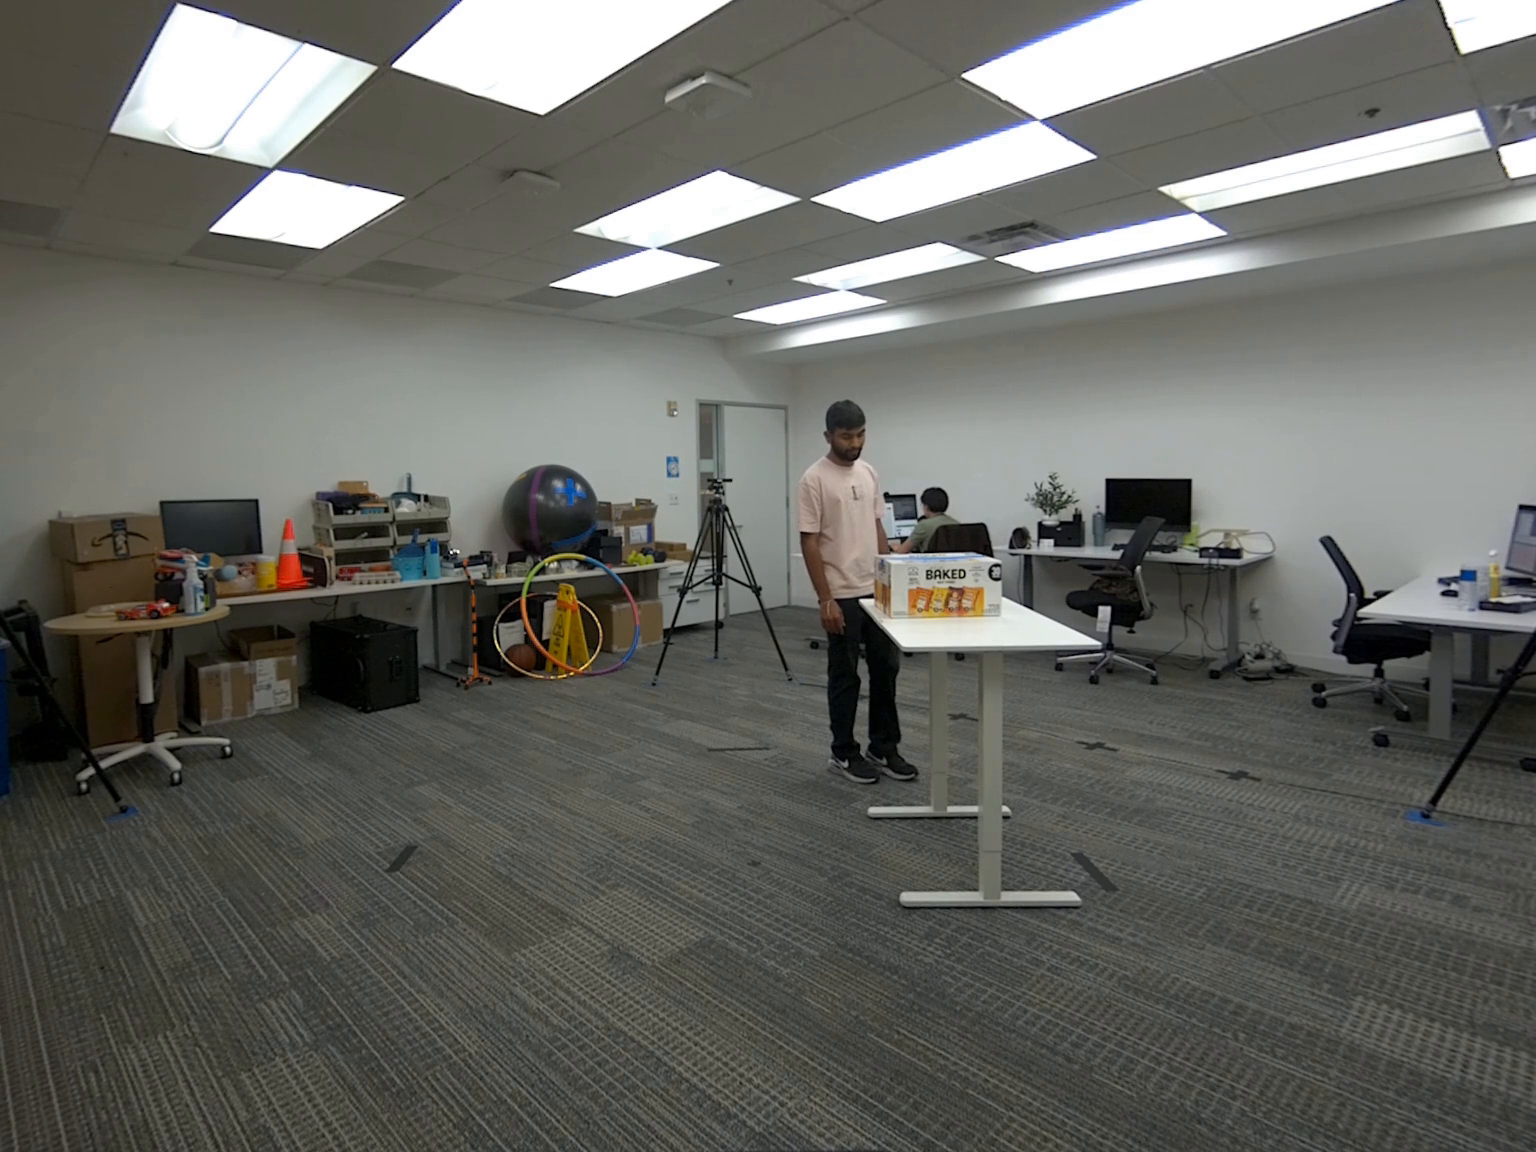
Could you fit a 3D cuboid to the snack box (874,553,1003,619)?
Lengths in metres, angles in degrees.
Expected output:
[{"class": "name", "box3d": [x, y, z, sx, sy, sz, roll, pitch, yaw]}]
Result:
[{"class": "snack box", "box3d": [0.635, 0.032, 3.267, 0.404, 0.205, 0.343, -1, 6, -3]}]
